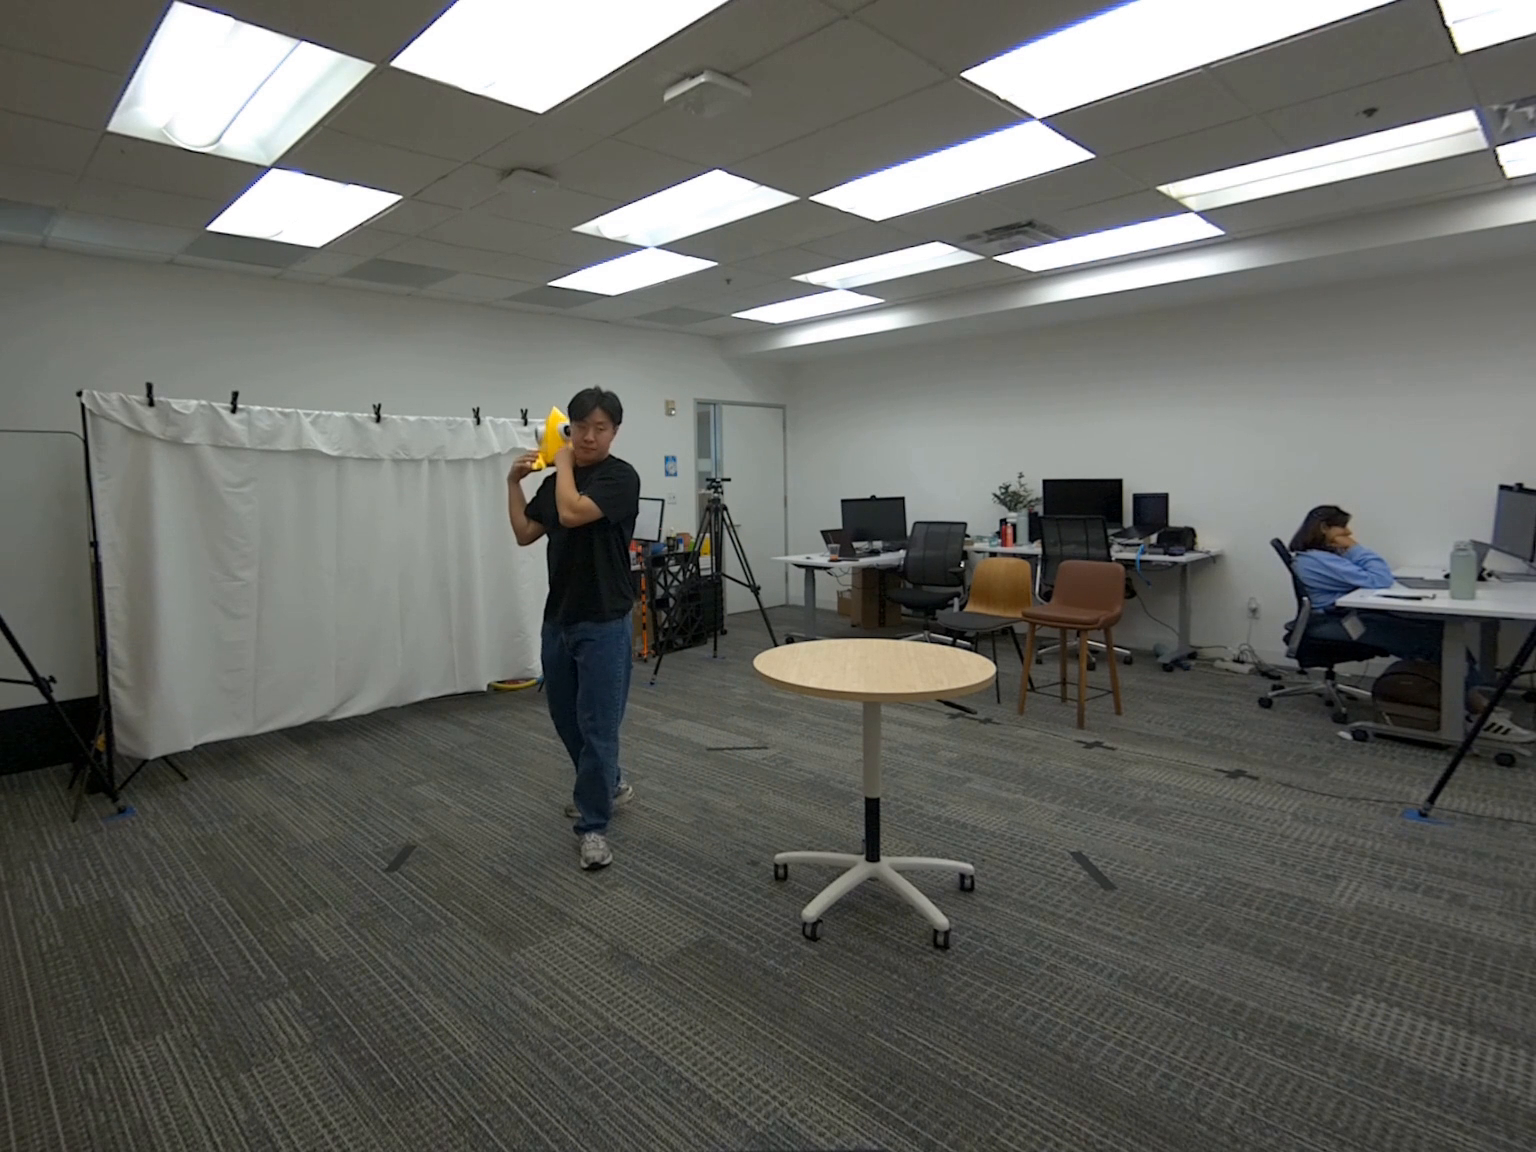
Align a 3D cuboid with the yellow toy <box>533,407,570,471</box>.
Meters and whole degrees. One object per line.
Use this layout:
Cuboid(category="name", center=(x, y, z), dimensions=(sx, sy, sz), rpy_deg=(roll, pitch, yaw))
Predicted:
Cuboid(category="yellow toy", center=(-0.845, -0.550, 3.363), dimensions=(0.206, 0.228, 0.194), rpy_deg=(-5, 13, 6))
